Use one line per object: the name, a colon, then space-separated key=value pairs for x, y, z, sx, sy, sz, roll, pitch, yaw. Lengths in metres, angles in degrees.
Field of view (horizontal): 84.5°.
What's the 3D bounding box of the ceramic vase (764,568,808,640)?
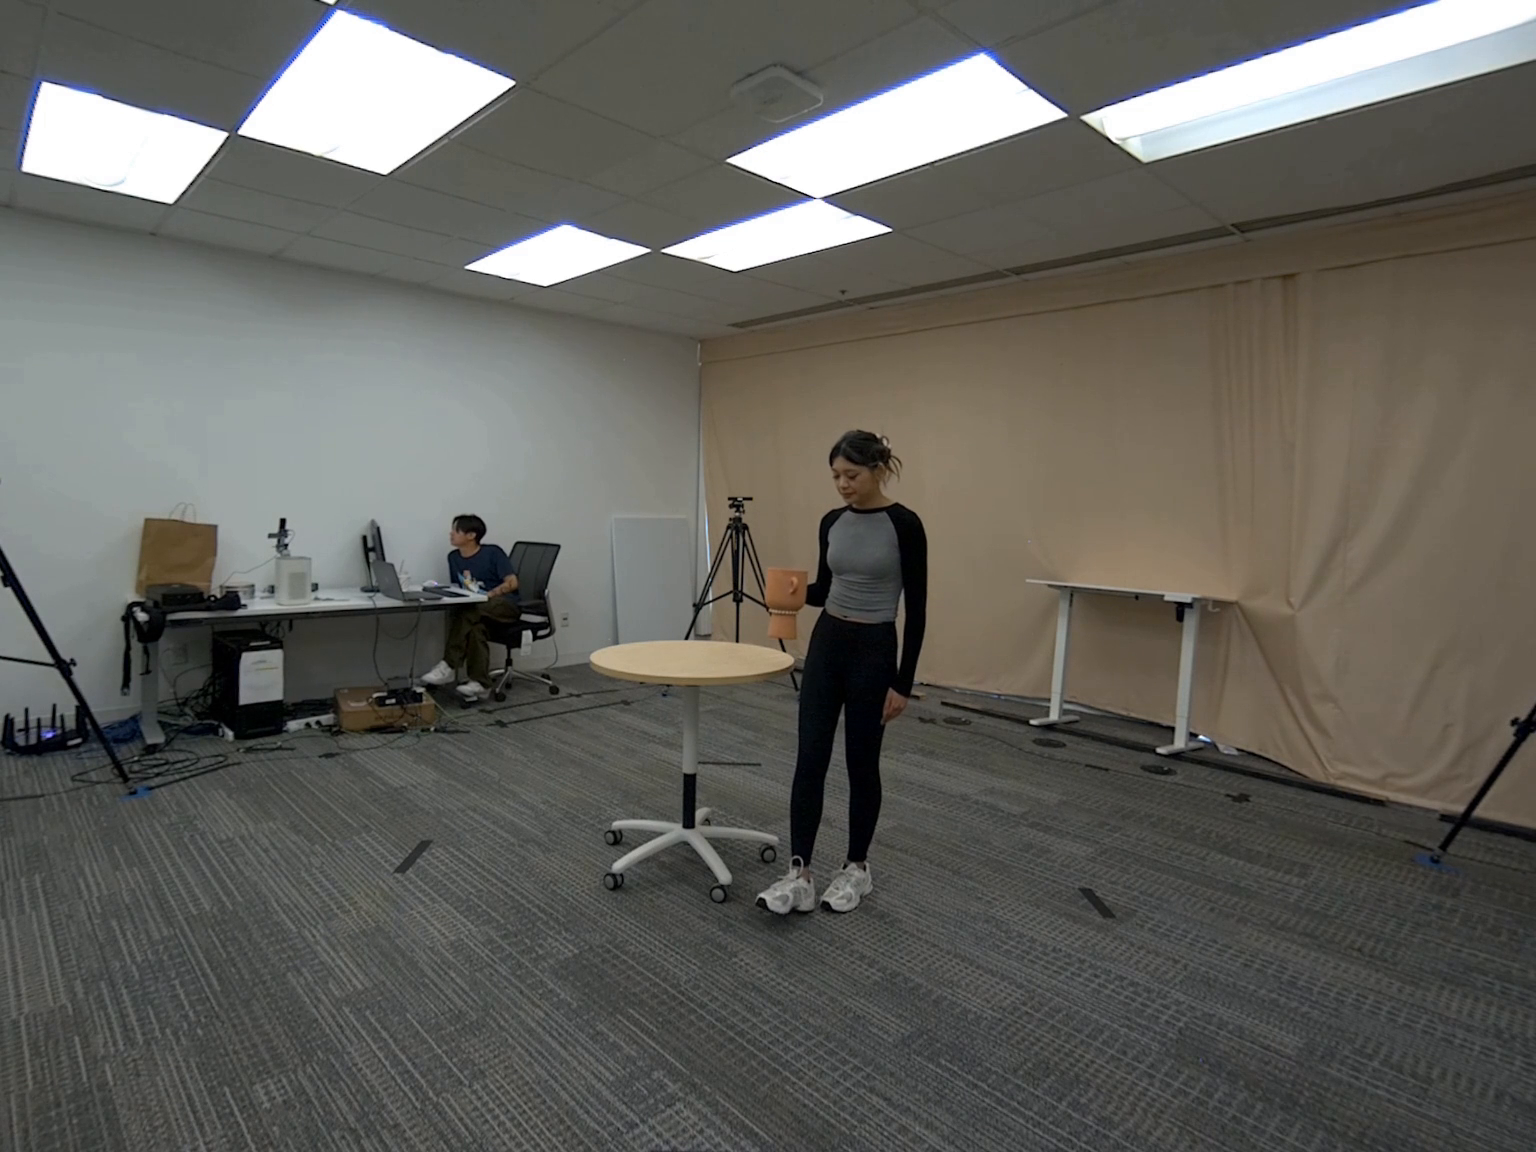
ceramic vase: x=0.054 y=0.091 z=2.698 sx=0.137 sy=0.220 sz=0.156 roll=5 pitch=1 yaw=24
